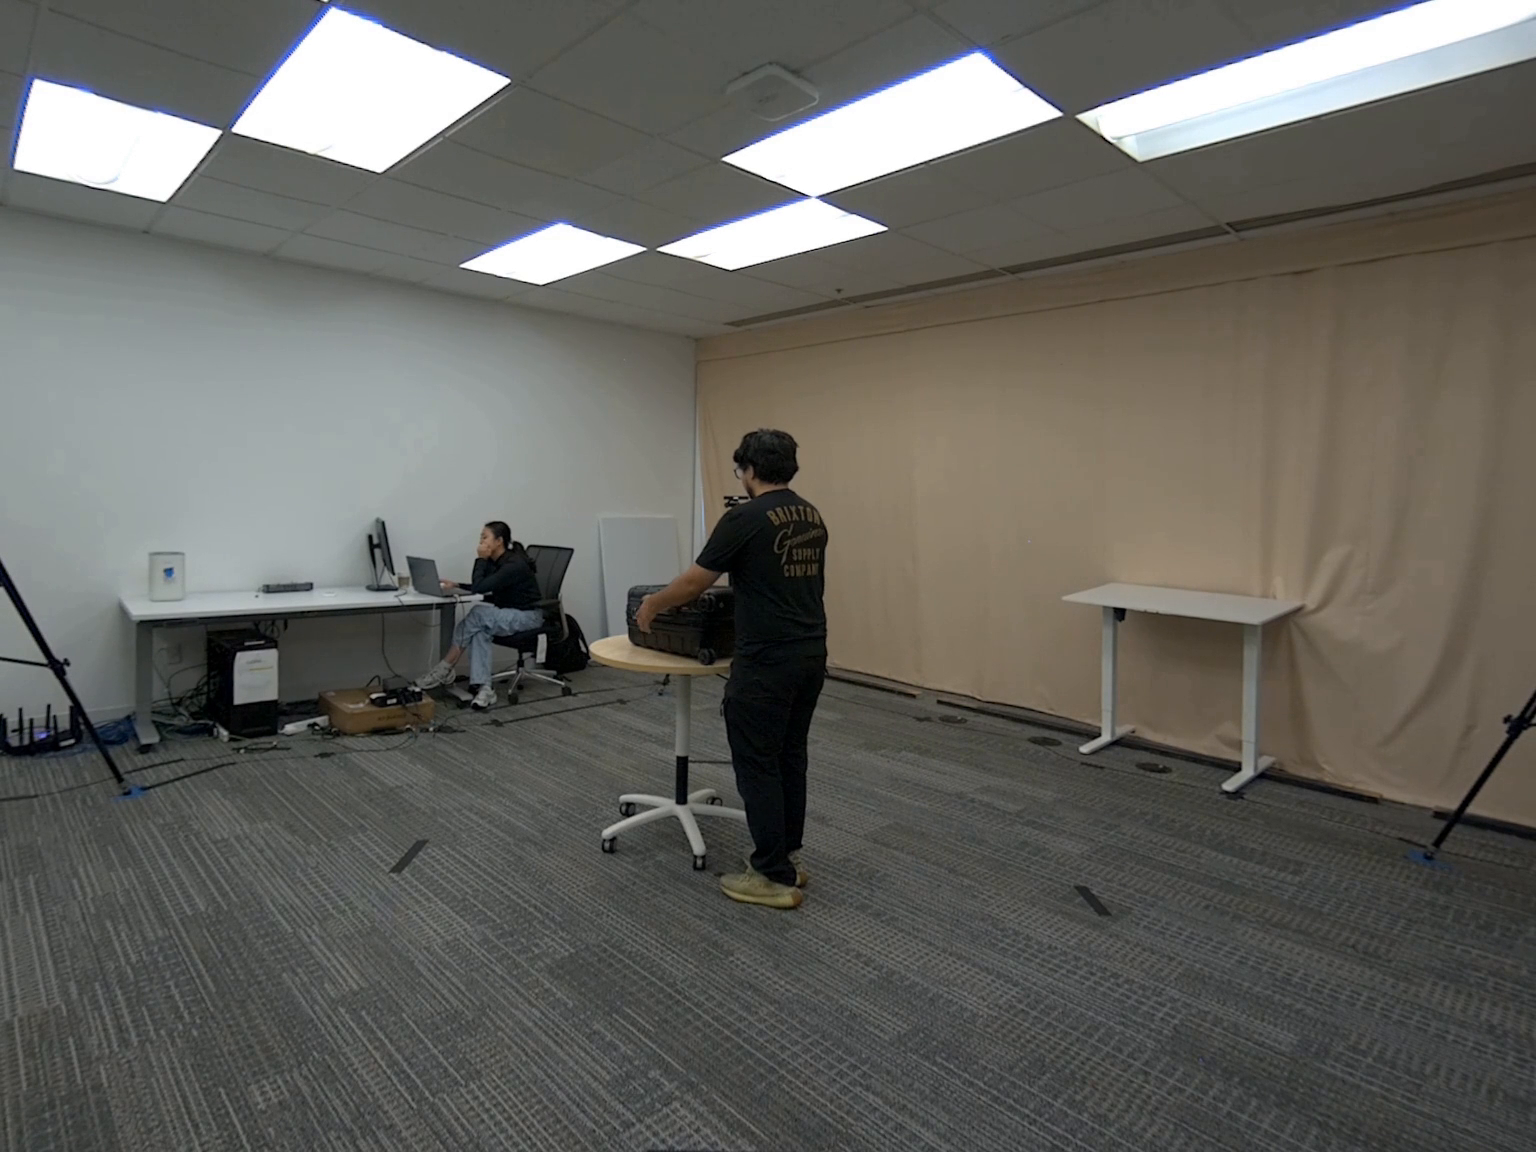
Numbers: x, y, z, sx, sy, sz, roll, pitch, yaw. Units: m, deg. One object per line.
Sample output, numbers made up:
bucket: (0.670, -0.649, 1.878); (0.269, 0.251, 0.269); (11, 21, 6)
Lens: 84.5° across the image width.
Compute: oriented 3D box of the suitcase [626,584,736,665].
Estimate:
suitcase: (-0.300, 0.170, 3.358); (0.367, 0.248, 0.563); (-4, 5, -44)
